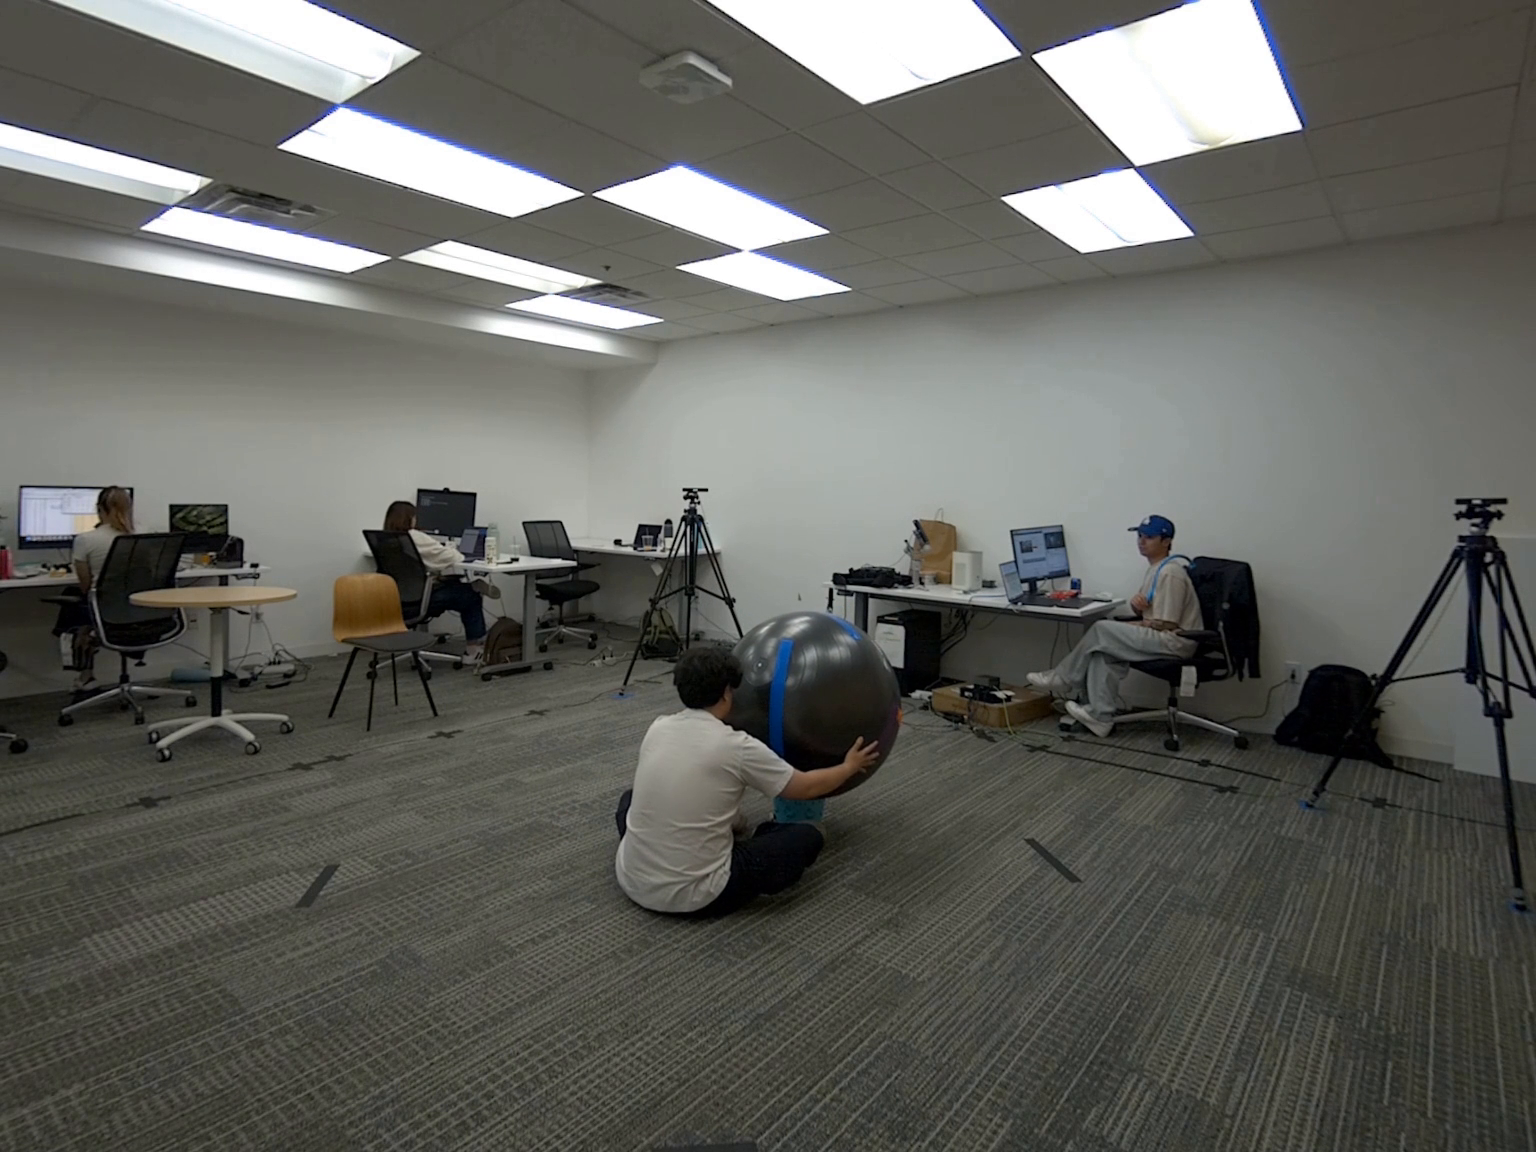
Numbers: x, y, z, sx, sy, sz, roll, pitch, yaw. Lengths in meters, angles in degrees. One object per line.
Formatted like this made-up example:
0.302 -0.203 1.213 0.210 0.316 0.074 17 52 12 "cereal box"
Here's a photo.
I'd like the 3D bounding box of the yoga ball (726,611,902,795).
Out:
0.156 0.526 3.503 0.757 0.755 0.762 1 4 -2 "yoga ball"
